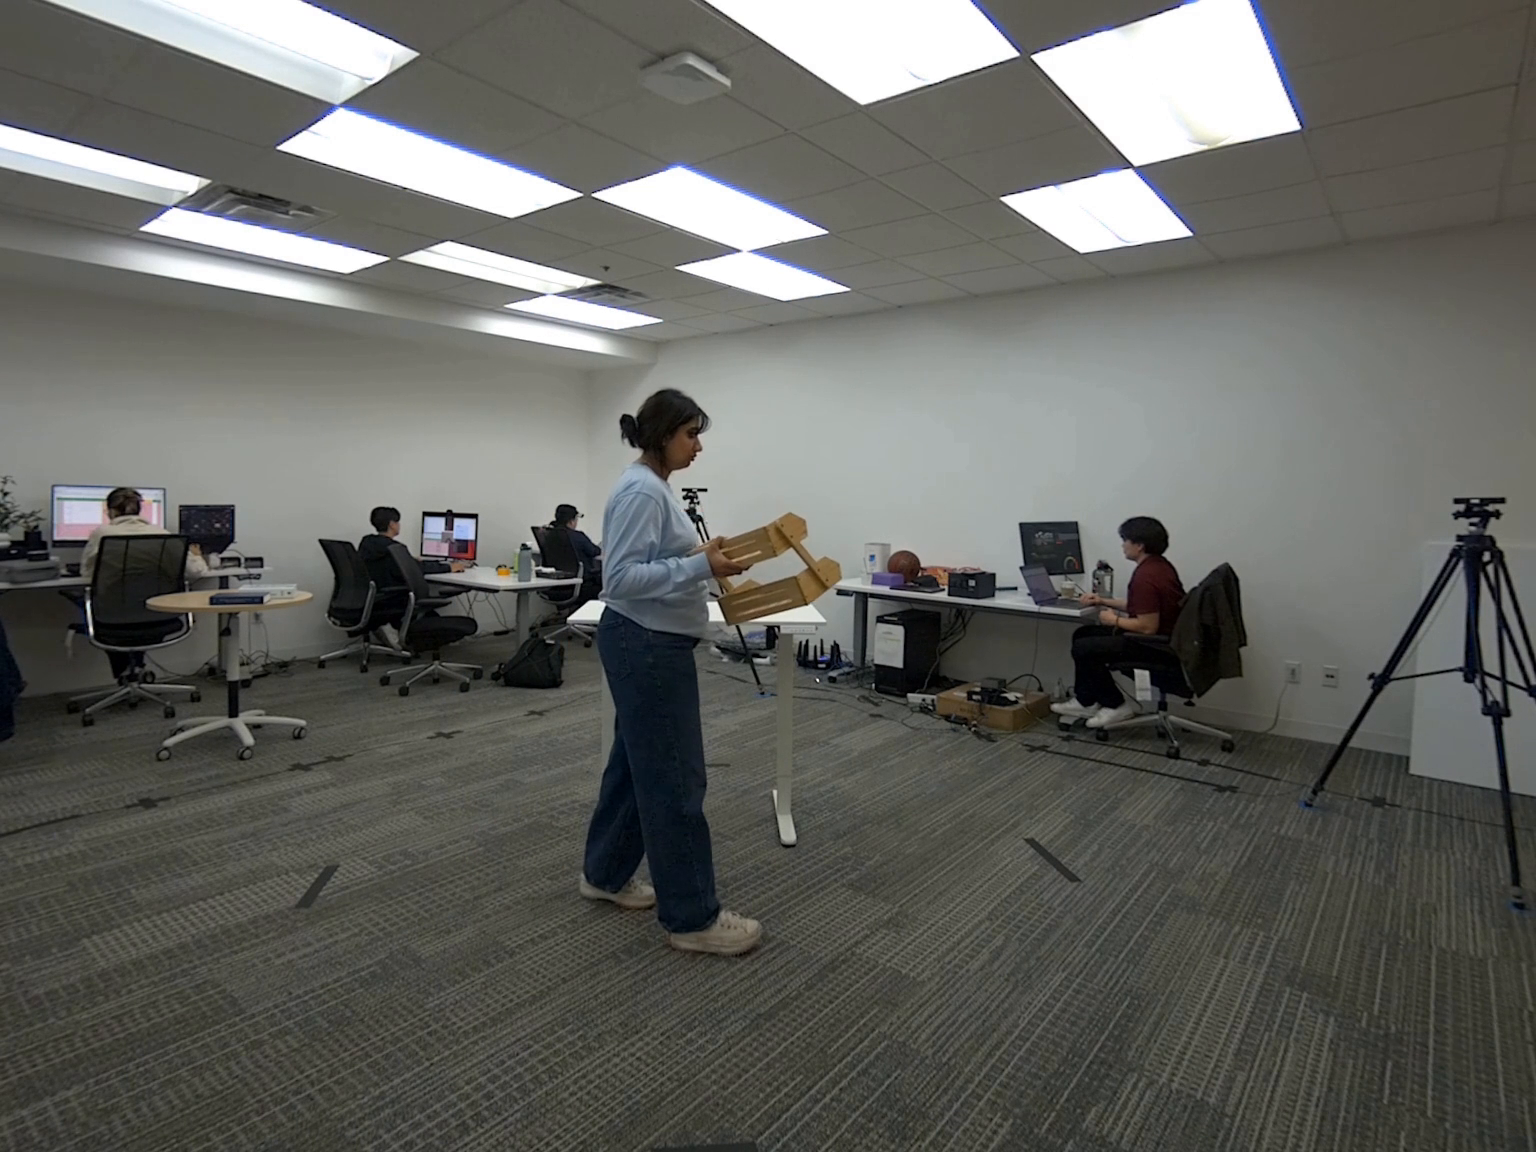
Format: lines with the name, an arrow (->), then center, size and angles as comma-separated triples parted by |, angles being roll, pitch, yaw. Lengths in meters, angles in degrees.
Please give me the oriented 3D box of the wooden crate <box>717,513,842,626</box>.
wooden crate -> -0.015, -0.036, 2.556 | 0.331, 0.271, 0.298 | -18, 8, 35
